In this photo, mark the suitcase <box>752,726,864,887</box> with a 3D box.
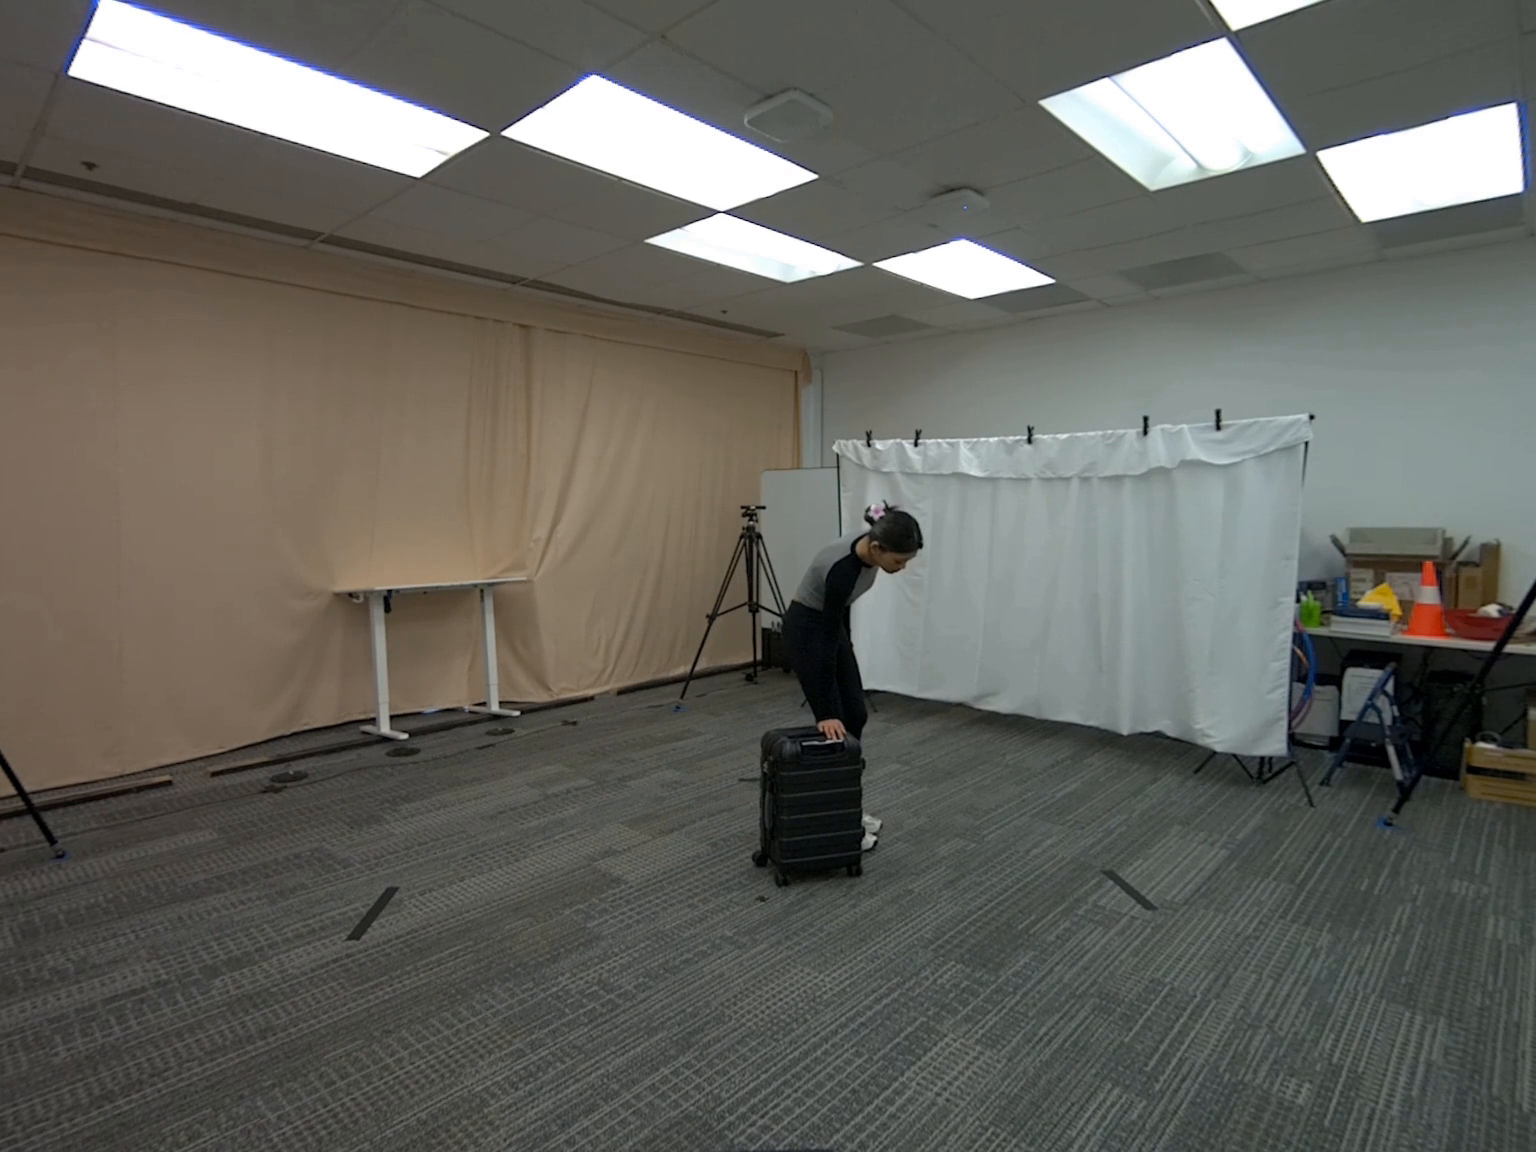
[{"bbox_3d":[0.157,0.847,3.194,0.368,0.548,0.253,-1,4,-18],"label":"suitcase"}]
